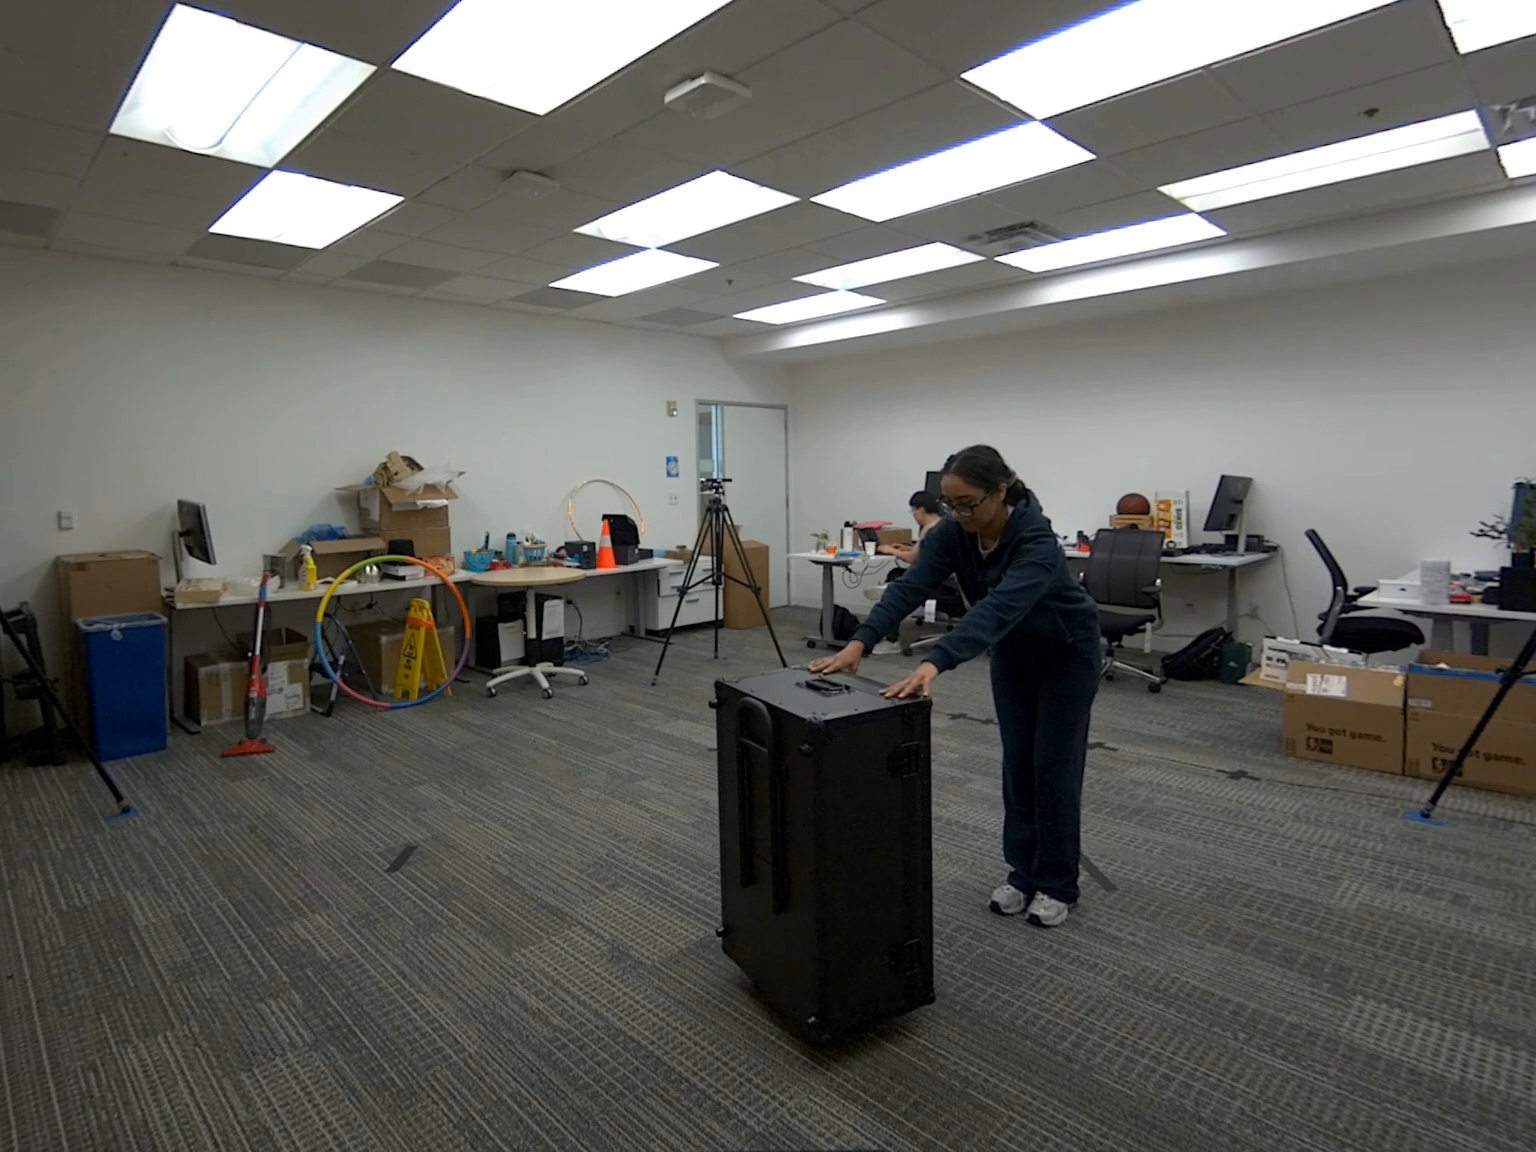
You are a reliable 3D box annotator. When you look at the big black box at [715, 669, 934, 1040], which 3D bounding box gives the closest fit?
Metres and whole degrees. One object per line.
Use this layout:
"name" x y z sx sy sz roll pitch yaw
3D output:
"big black box" 0.144 0.715 2.250 0.387 0.857 0.535 -5 6 -29
